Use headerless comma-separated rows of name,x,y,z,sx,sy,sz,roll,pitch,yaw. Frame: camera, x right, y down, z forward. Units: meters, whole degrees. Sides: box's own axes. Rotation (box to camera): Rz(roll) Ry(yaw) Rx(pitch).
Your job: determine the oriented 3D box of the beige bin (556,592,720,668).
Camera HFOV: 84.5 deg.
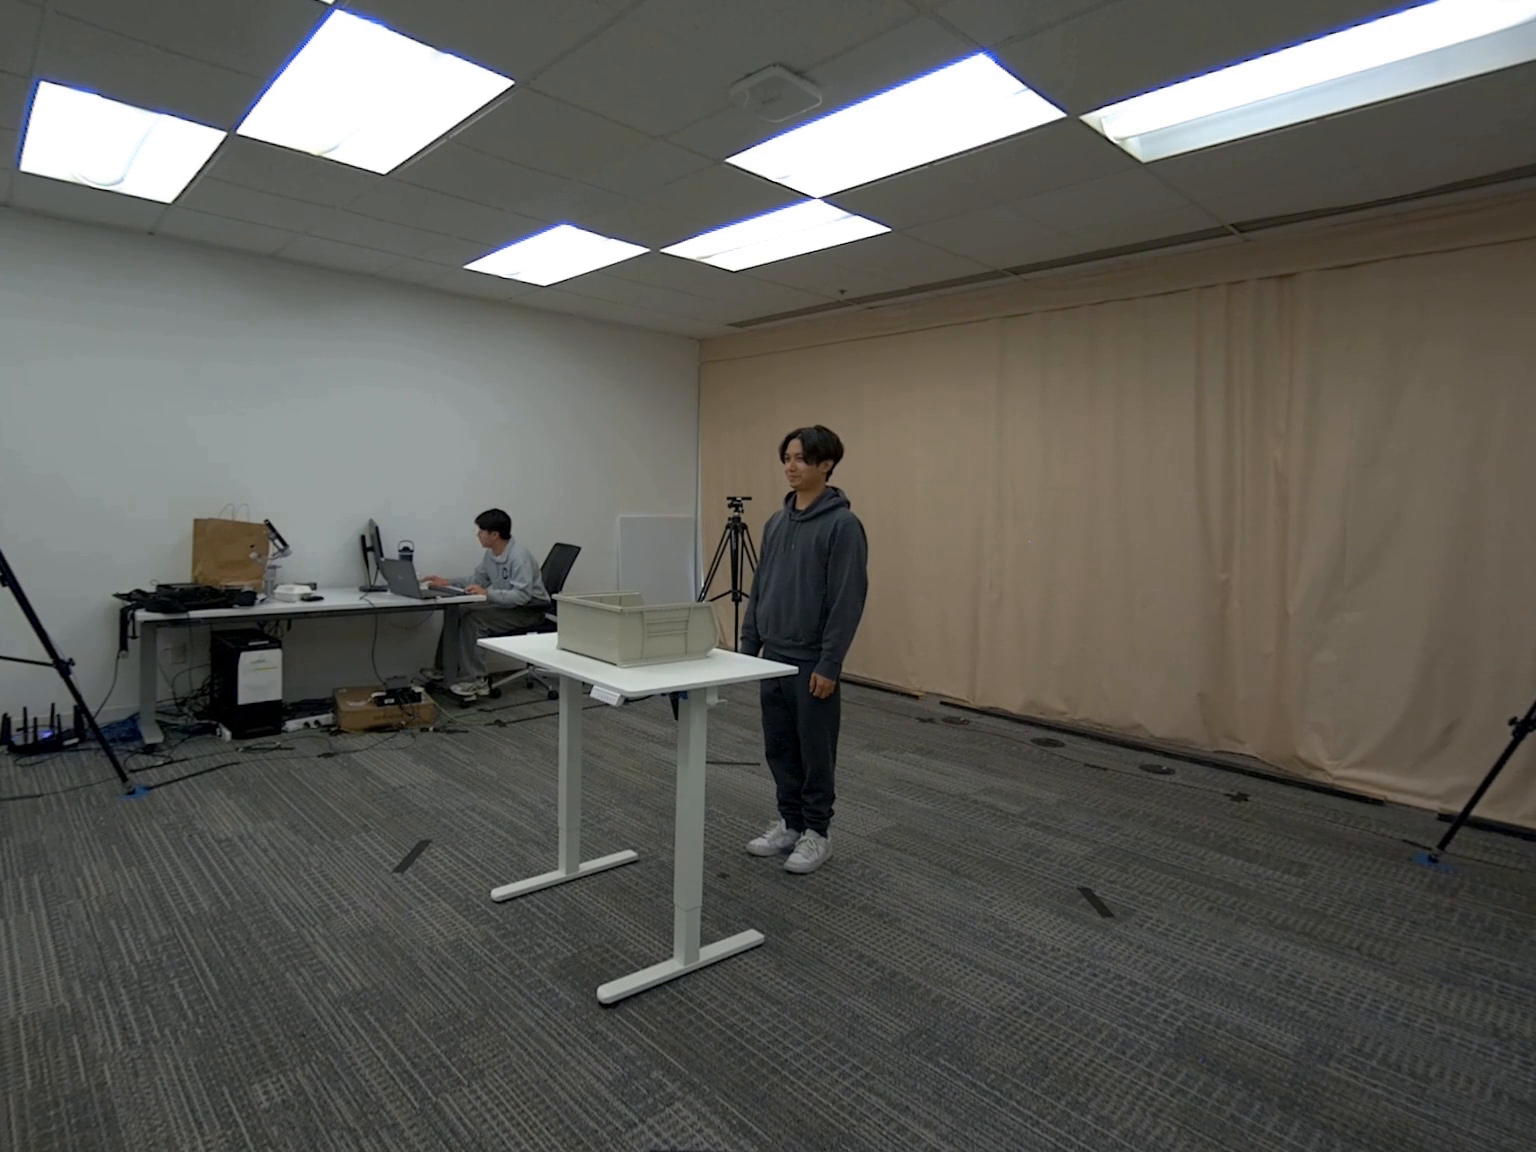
beige bin,-0.436,0.163,2.724,0.369,0.188,0.433,-3,6,-41
